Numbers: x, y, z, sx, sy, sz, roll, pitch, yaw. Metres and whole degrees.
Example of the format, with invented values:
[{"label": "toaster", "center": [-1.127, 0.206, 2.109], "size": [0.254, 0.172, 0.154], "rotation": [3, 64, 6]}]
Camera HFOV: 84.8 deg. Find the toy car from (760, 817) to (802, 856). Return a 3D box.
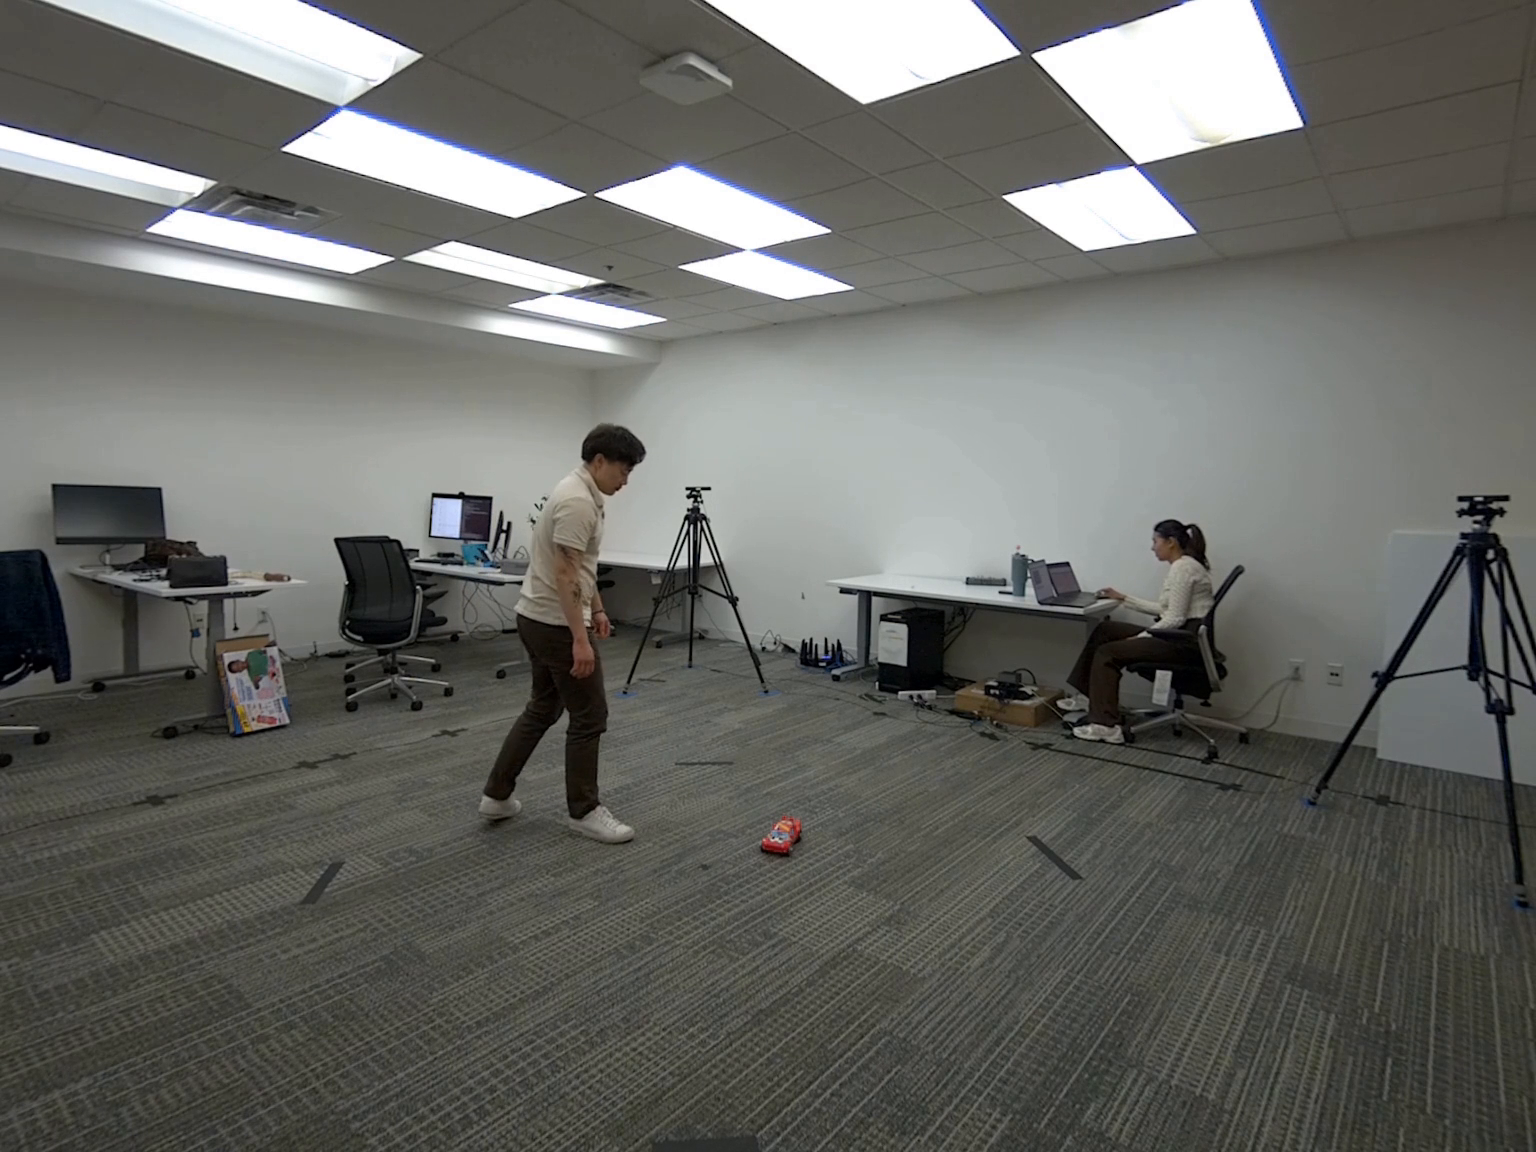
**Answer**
[{"label": "toy car", "center": [0.050, 1.014, 3.332], "size": [0.133, 0.082, 0.253], "rotation": [2, 16, 19]}]
